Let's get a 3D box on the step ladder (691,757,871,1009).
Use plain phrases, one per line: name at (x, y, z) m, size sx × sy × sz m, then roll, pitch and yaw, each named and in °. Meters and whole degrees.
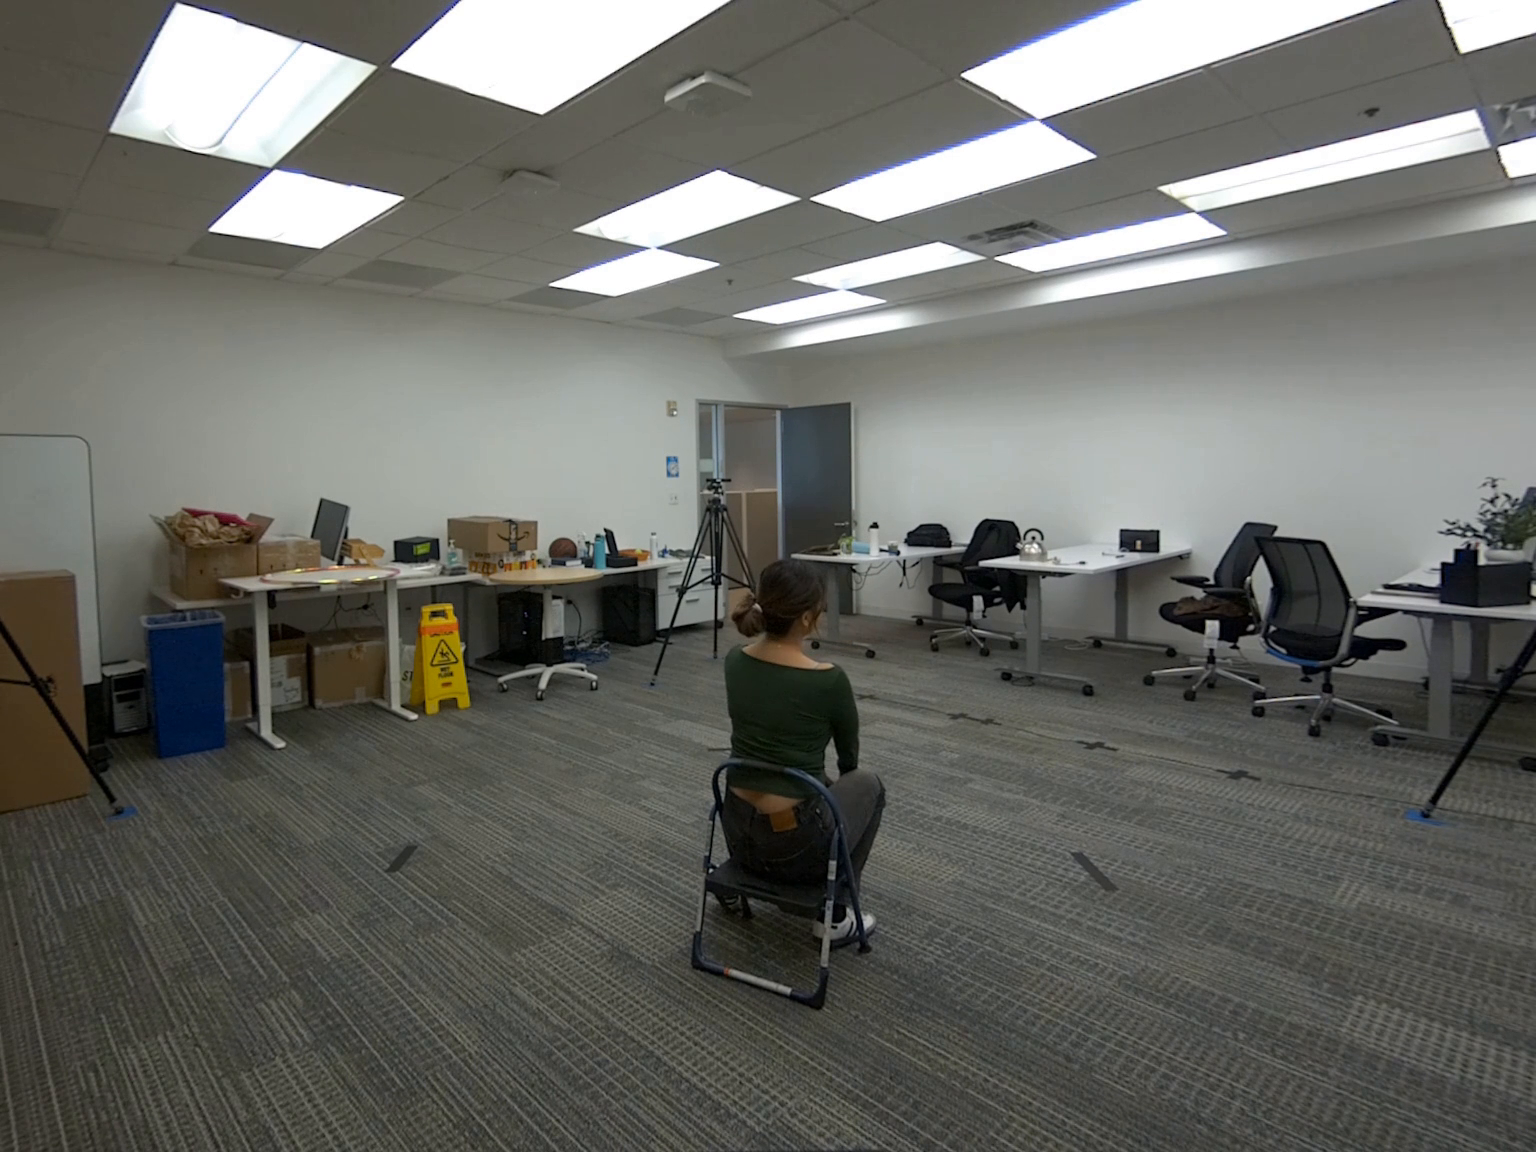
step ladder at (0.033, 0.824, 2.468) m, size 0.442 × 0.603 × 0.342 m, roll 1°, pitch 5°, yaw 29°
